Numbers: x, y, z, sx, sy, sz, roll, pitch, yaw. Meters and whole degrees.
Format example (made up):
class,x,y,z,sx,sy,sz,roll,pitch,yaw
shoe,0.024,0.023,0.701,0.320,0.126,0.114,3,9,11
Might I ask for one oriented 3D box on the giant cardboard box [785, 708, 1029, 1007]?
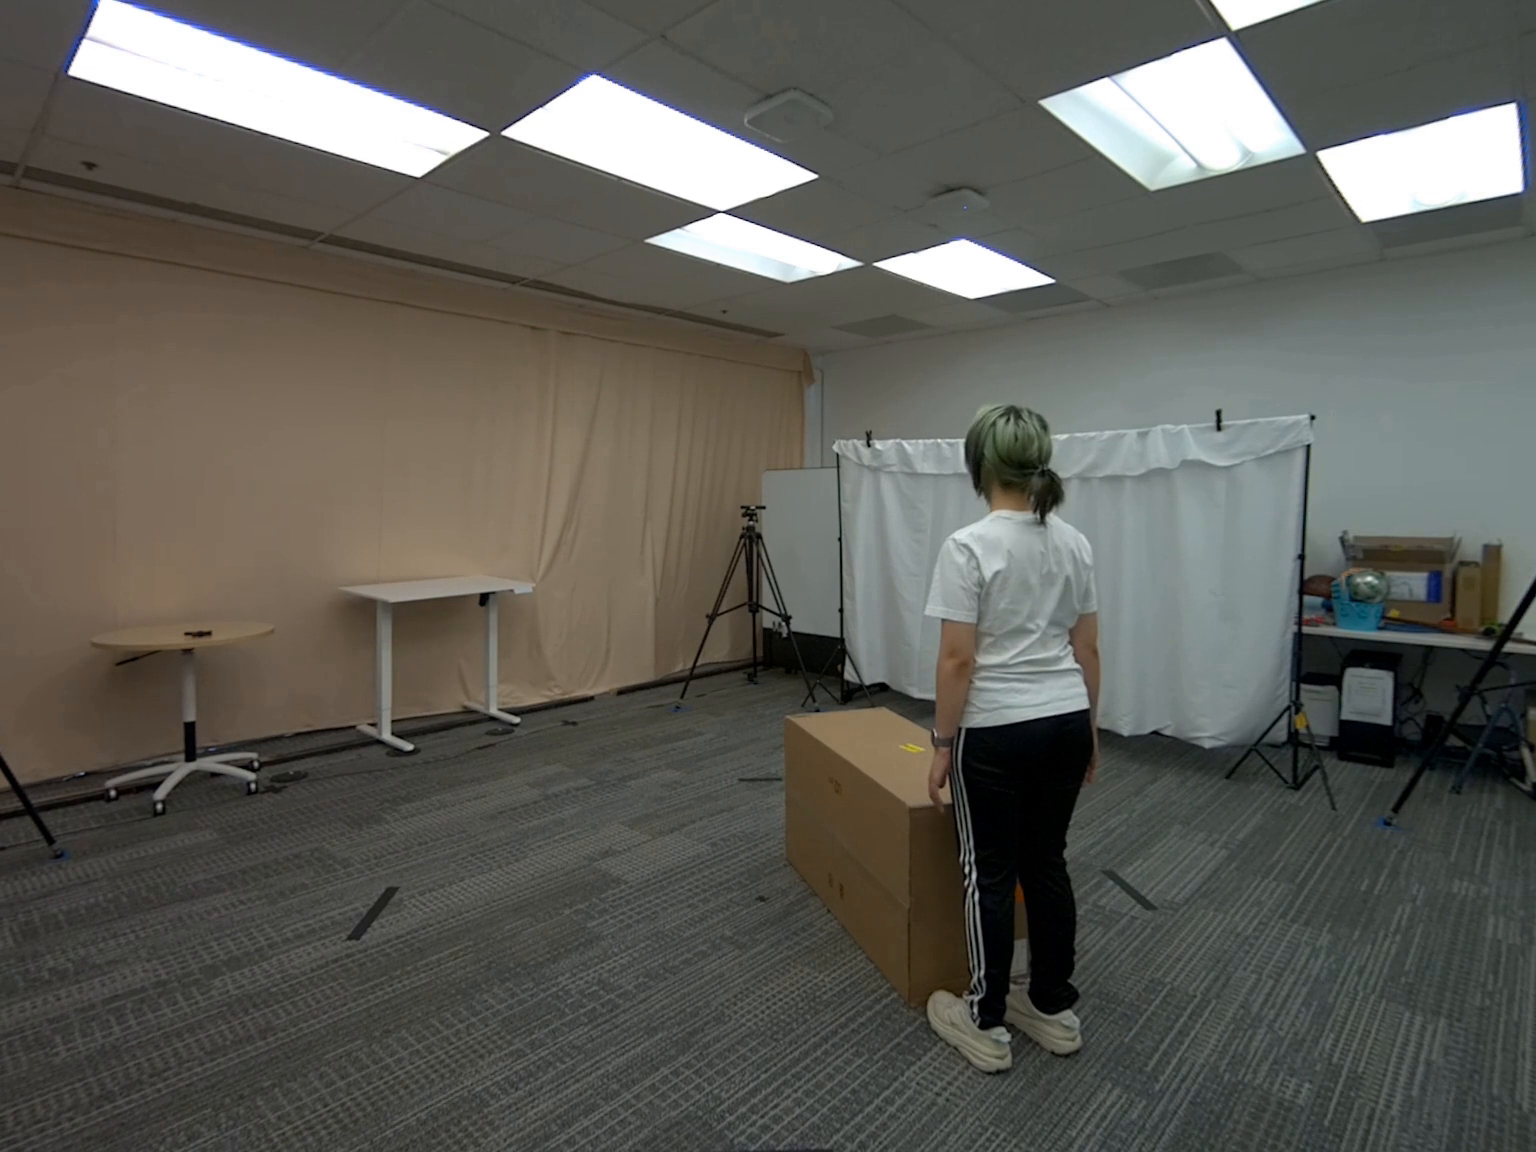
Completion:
class,x,y,z,sx,sy,sz,roll,pitch,yaw
giant cardboard box,0.436,0.863,2.855,0.439,0.582,1.048,-1,5,-18
